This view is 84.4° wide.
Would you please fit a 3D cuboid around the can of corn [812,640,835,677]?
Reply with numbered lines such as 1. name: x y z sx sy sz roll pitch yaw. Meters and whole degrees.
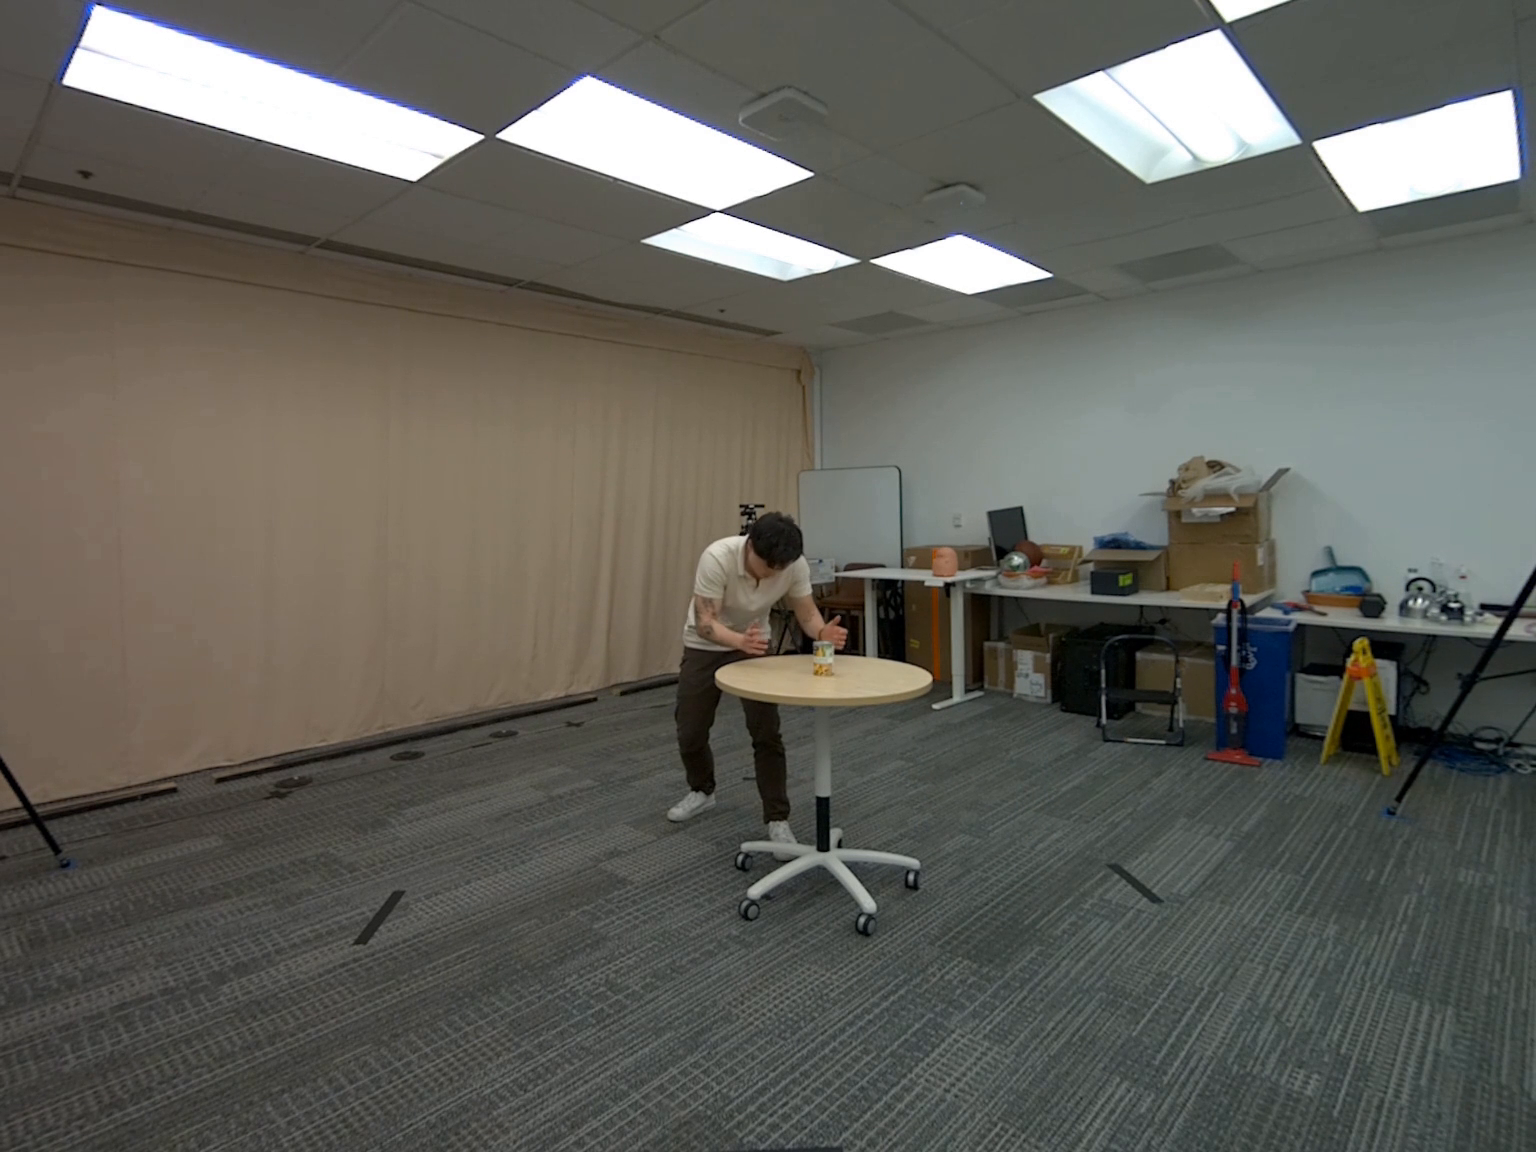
1. can of corn: 0.200 0.294 2.995 0.074 0.111 0.074 2 3 -2
